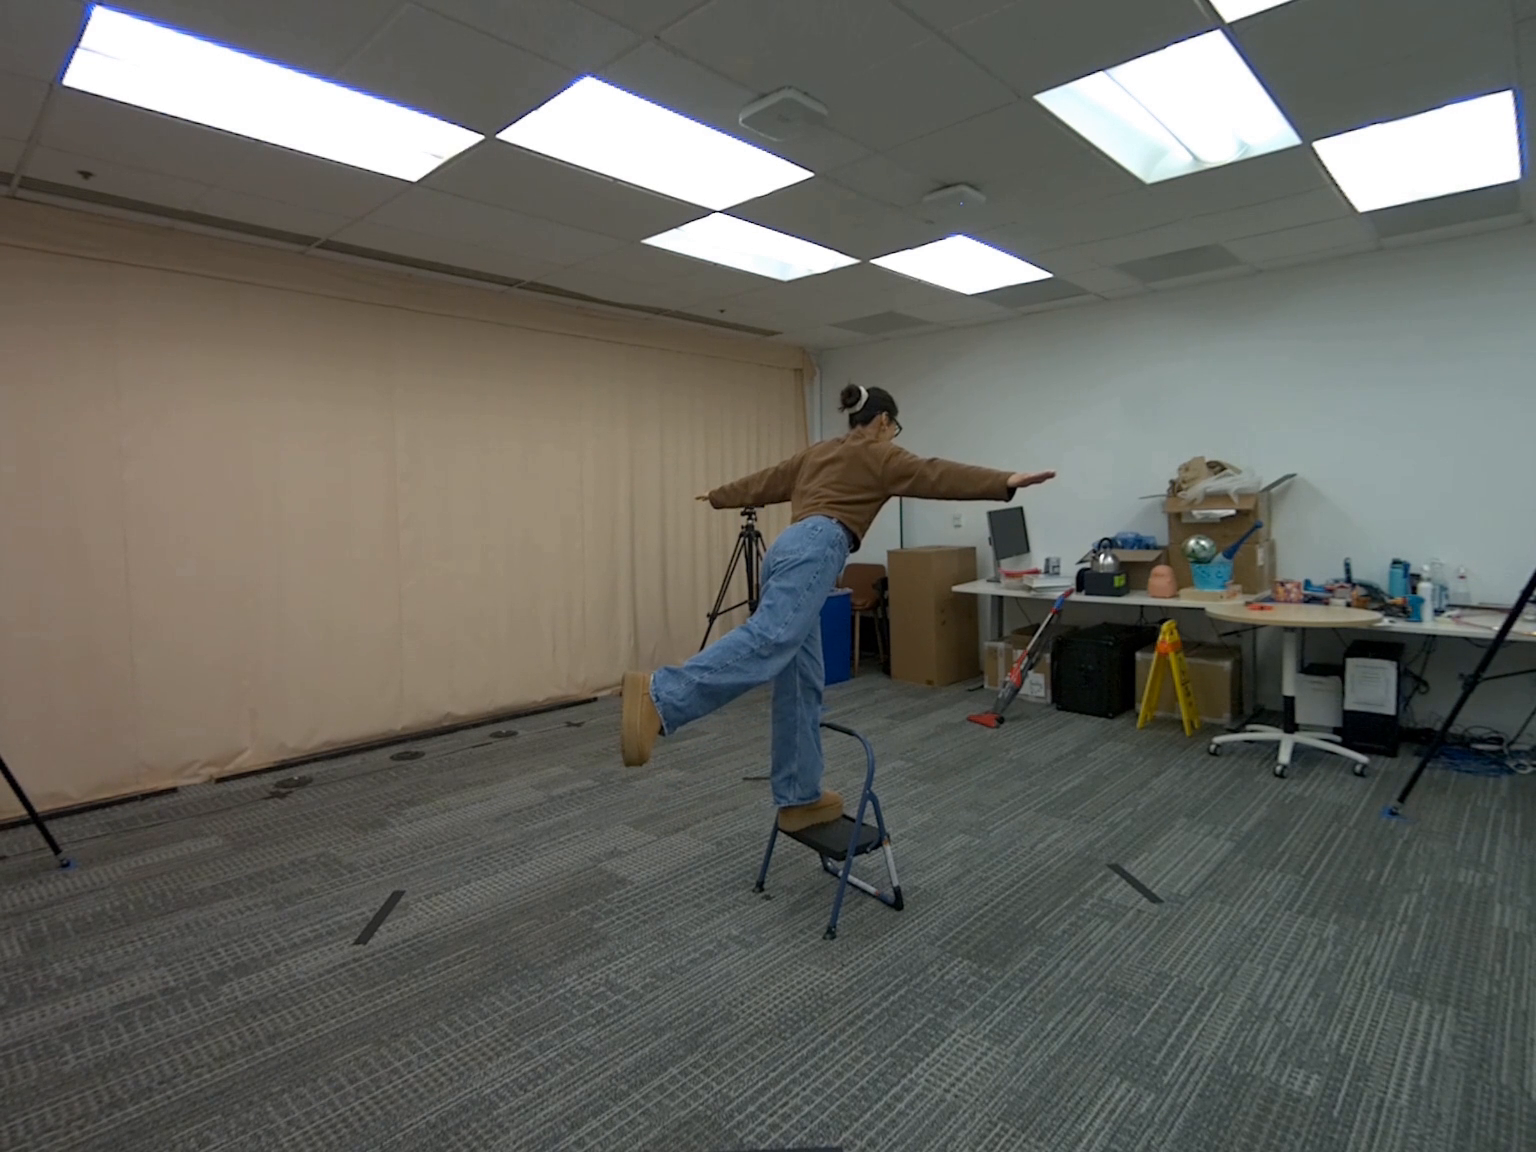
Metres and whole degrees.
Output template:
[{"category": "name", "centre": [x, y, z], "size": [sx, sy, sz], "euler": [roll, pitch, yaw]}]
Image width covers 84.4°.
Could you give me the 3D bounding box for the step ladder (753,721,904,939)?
[{"category": "step ladder", "centre": [0.209, 0.838, 2.939], "size": [0.339, 0.605, 0.444], "euler": [-3, 4, -36]}]
